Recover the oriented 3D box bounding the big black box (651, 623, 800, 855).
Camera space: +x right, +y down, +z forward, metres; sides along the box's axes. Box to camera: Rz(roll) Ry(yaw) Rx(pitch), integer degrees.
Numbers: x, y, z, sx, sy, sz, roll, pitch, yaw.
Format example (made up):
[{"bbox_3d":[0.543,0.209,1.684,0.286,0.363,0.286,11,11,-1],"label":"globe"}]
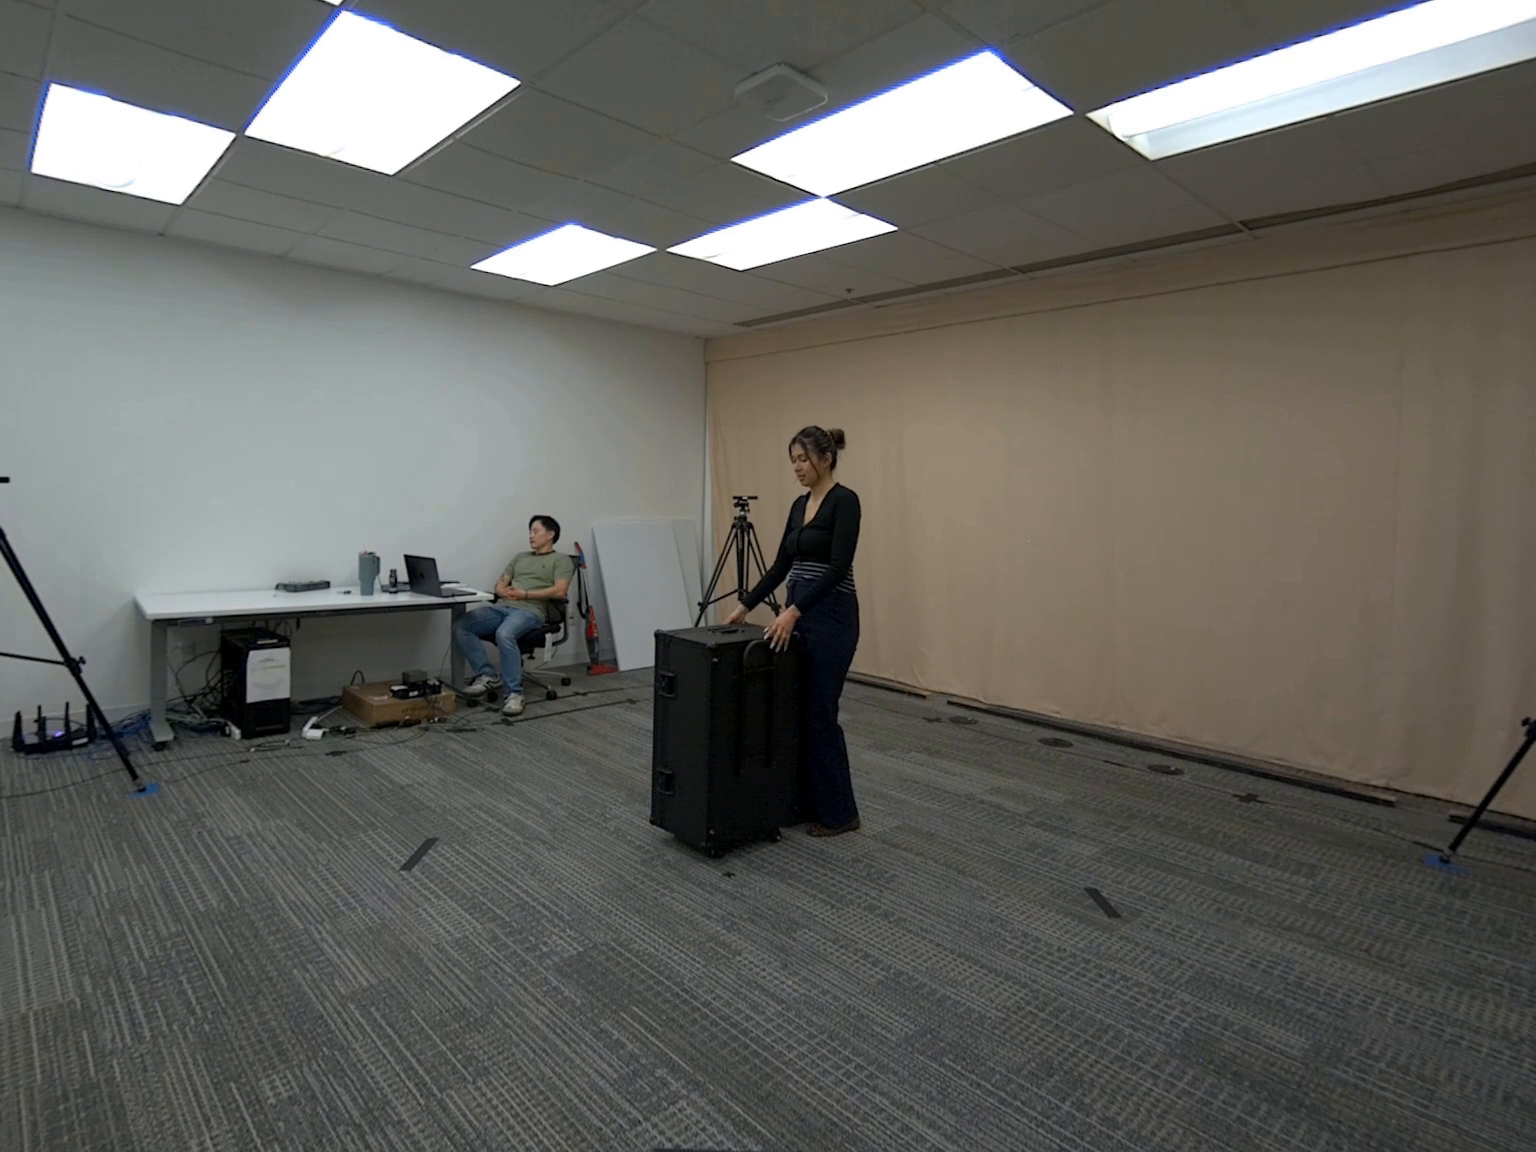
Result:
[{"bbox_3d":[-0.178,0.598,3.381,0.509,0.859,0.406,-1,4,-43],"label":"big black box"}]
